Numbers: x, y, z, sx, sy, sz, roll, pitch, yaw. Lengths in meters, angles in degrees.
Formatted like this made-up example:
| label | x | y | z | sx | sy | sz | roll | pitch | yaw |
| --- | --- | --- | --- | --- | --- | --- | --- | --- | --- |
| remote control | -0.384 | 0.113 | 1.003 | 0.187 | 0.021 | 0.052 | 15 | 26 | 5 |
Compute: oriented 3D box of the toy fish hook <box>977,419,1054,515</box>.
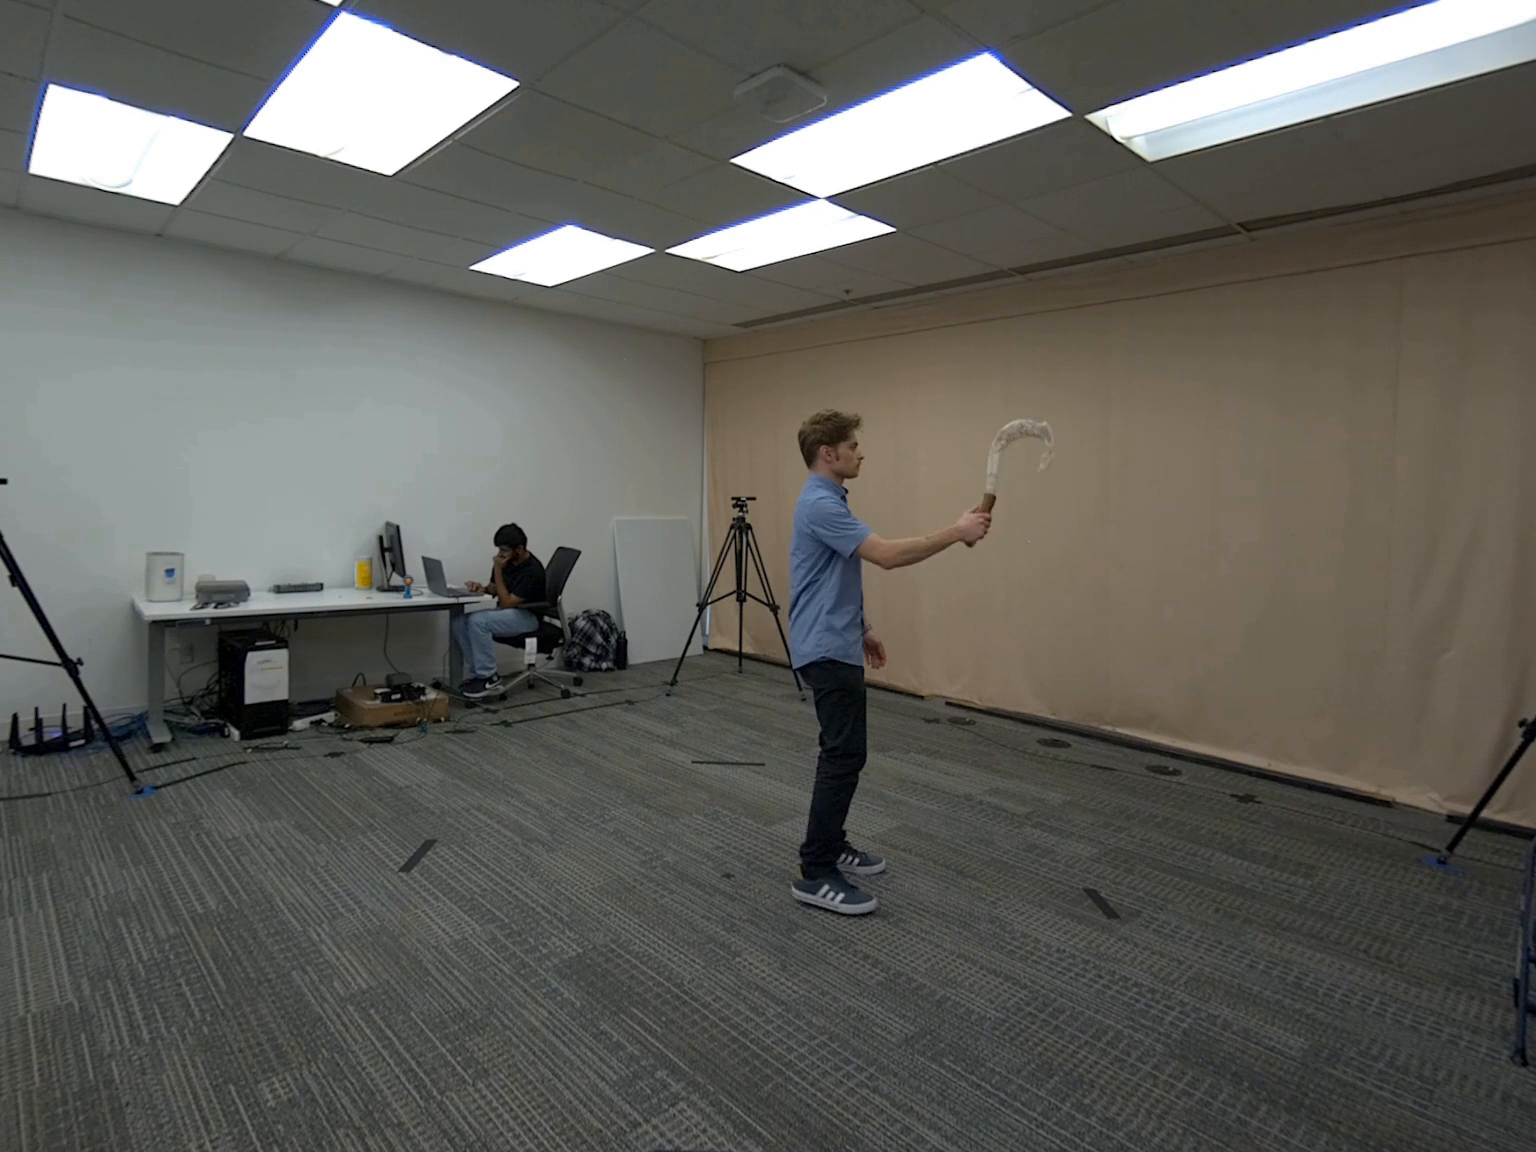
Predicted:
| label | x | y | z | sx | sy | sz | roll | pitch | yaw |
| --- | --- | --- | --- | --- | --- | --- | --- | --- | --- |
| toy fish hook | 0.807 | -0.297 | 2.876 | 0.231 | 0.508 | 0.047 | 17 | -12 | 41 |
